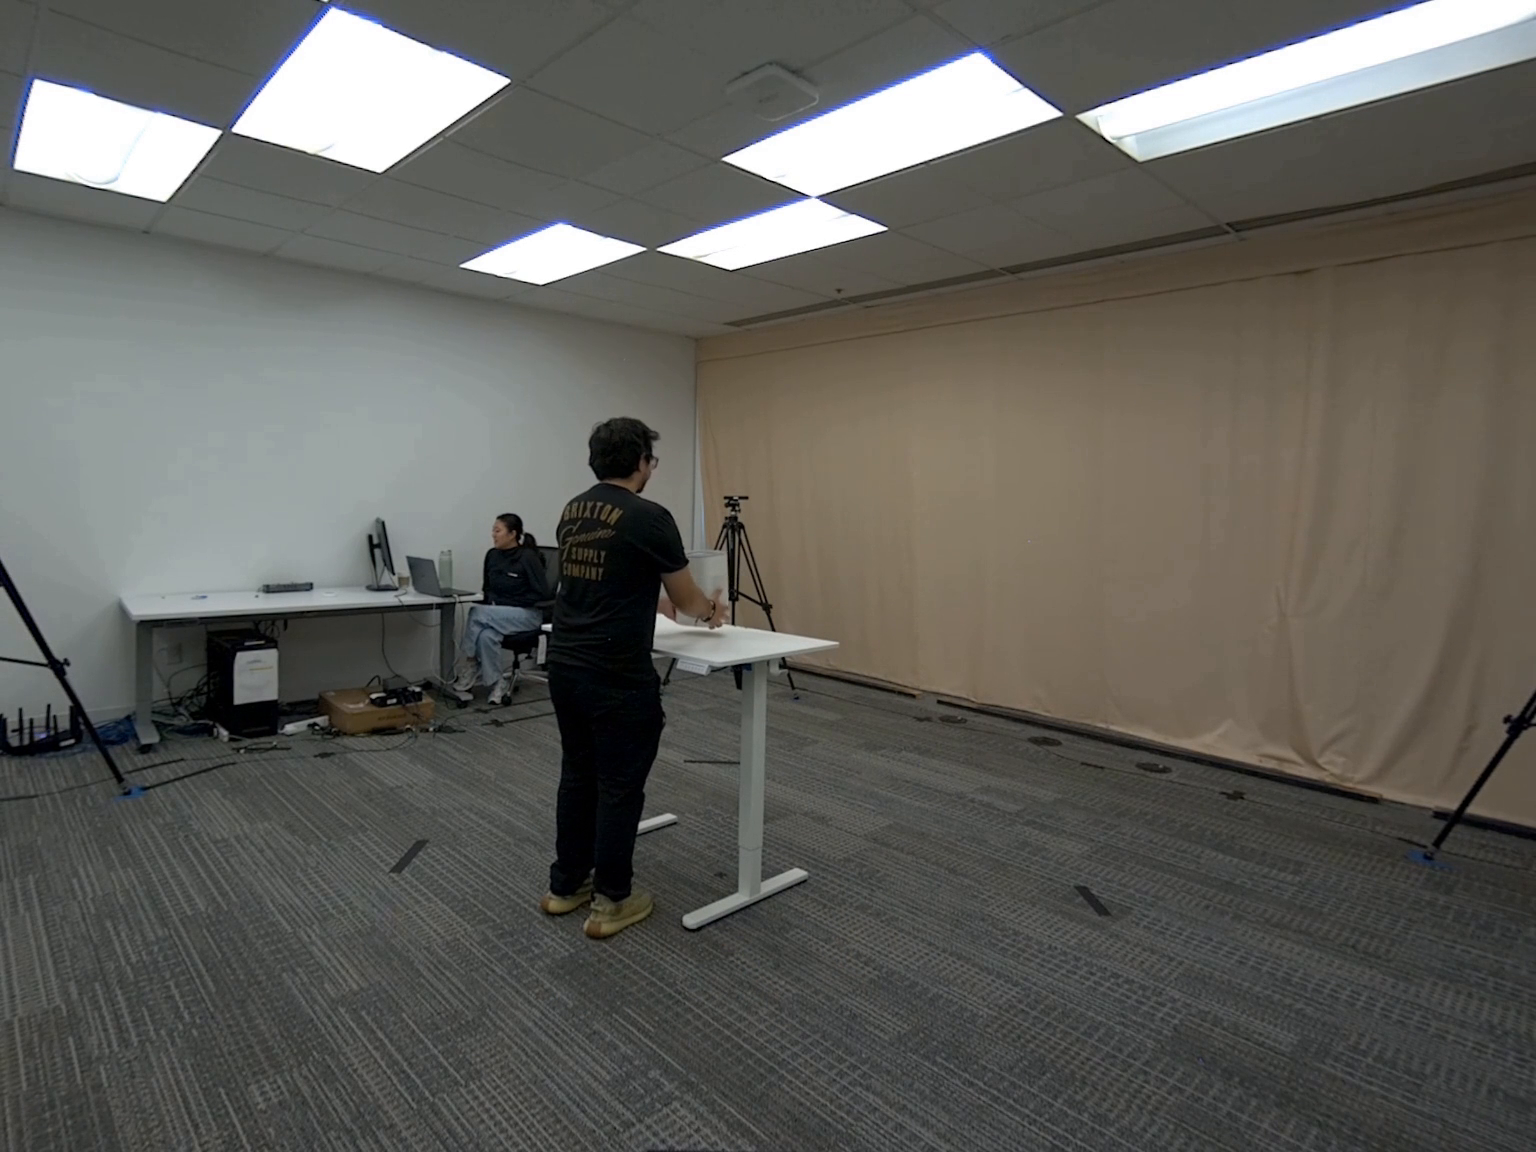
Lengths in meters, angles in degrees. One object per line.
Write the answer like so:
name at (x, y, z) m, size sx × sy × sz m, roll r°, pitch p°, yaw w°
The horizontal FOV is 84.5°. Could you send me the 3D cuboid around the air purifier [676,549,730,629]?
air purifier at (-0.254, 0.048, 3.116) m, size 0.175 × 0.264 × 0.168 m, roll 2°, pitch 8°, yaw 36°
